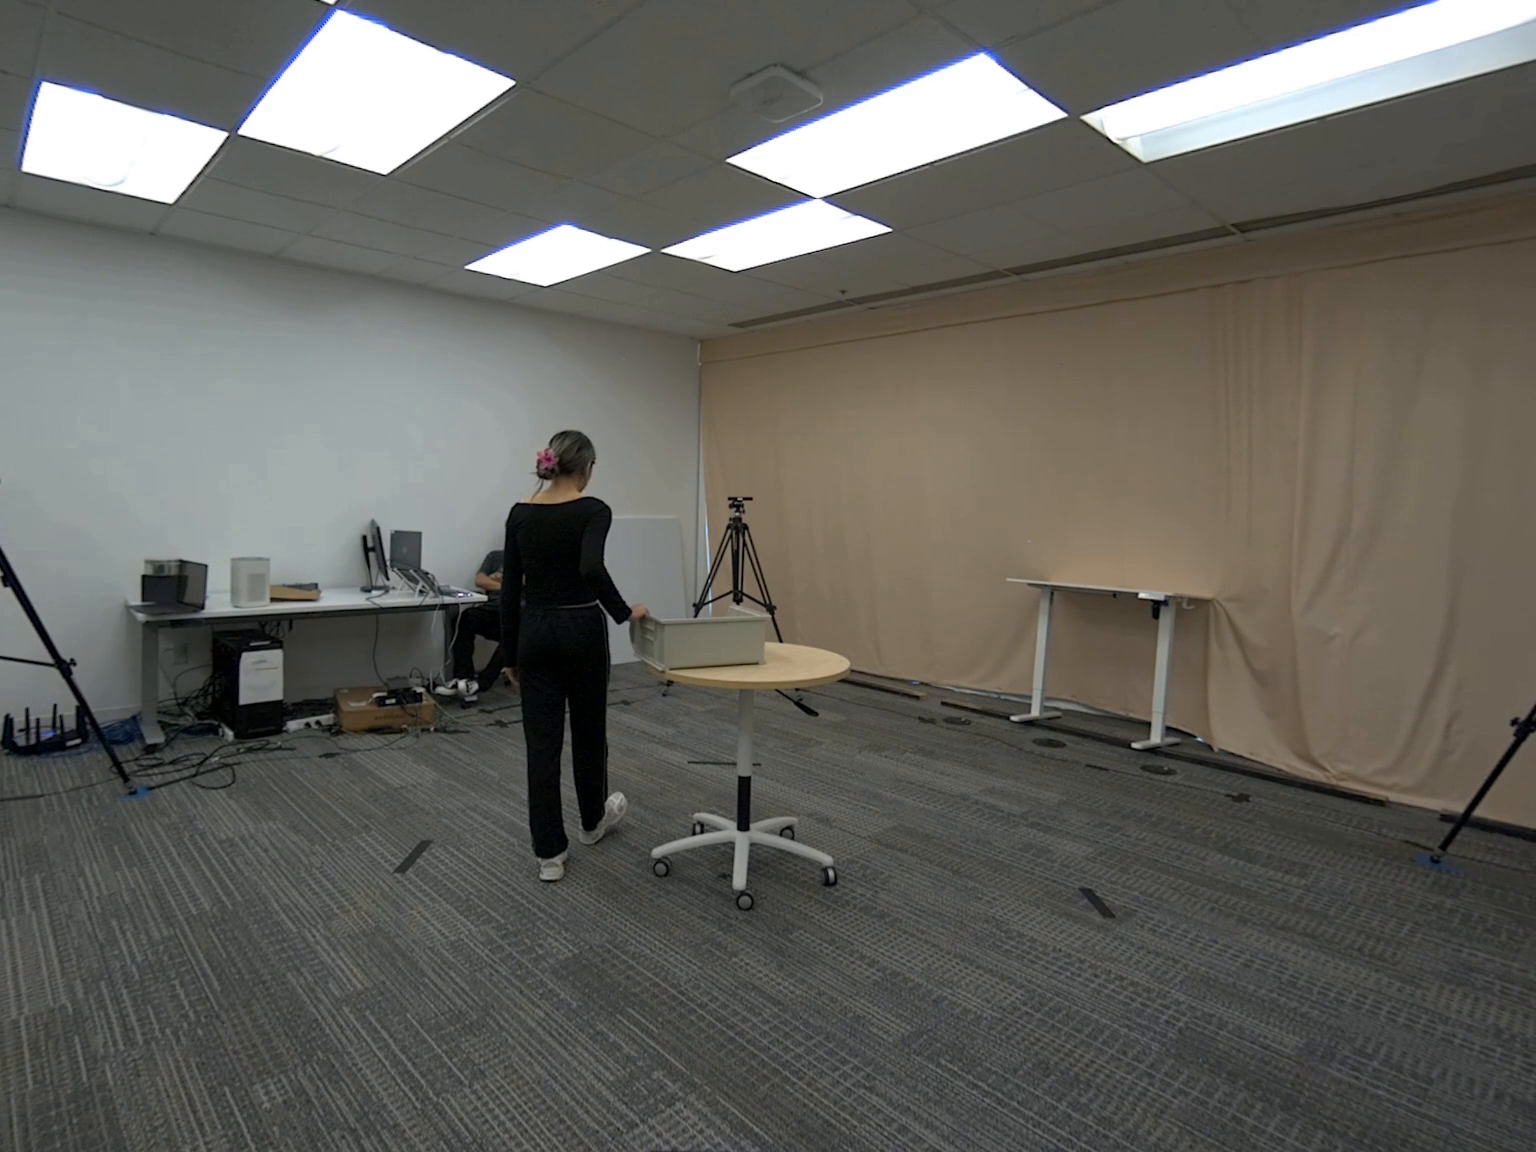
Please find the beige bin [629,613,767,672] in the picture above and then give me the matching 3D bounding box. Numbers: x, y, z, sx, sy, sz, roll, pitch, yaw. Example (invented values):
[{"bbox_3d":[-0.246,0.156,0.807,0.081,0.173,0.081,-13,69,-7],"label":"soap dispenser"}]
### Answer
[{"bbox_3d":[-0.267,0.217,3.133,0.415,0.188,0.386,0,7,-25],"label":"beige bin"}]
